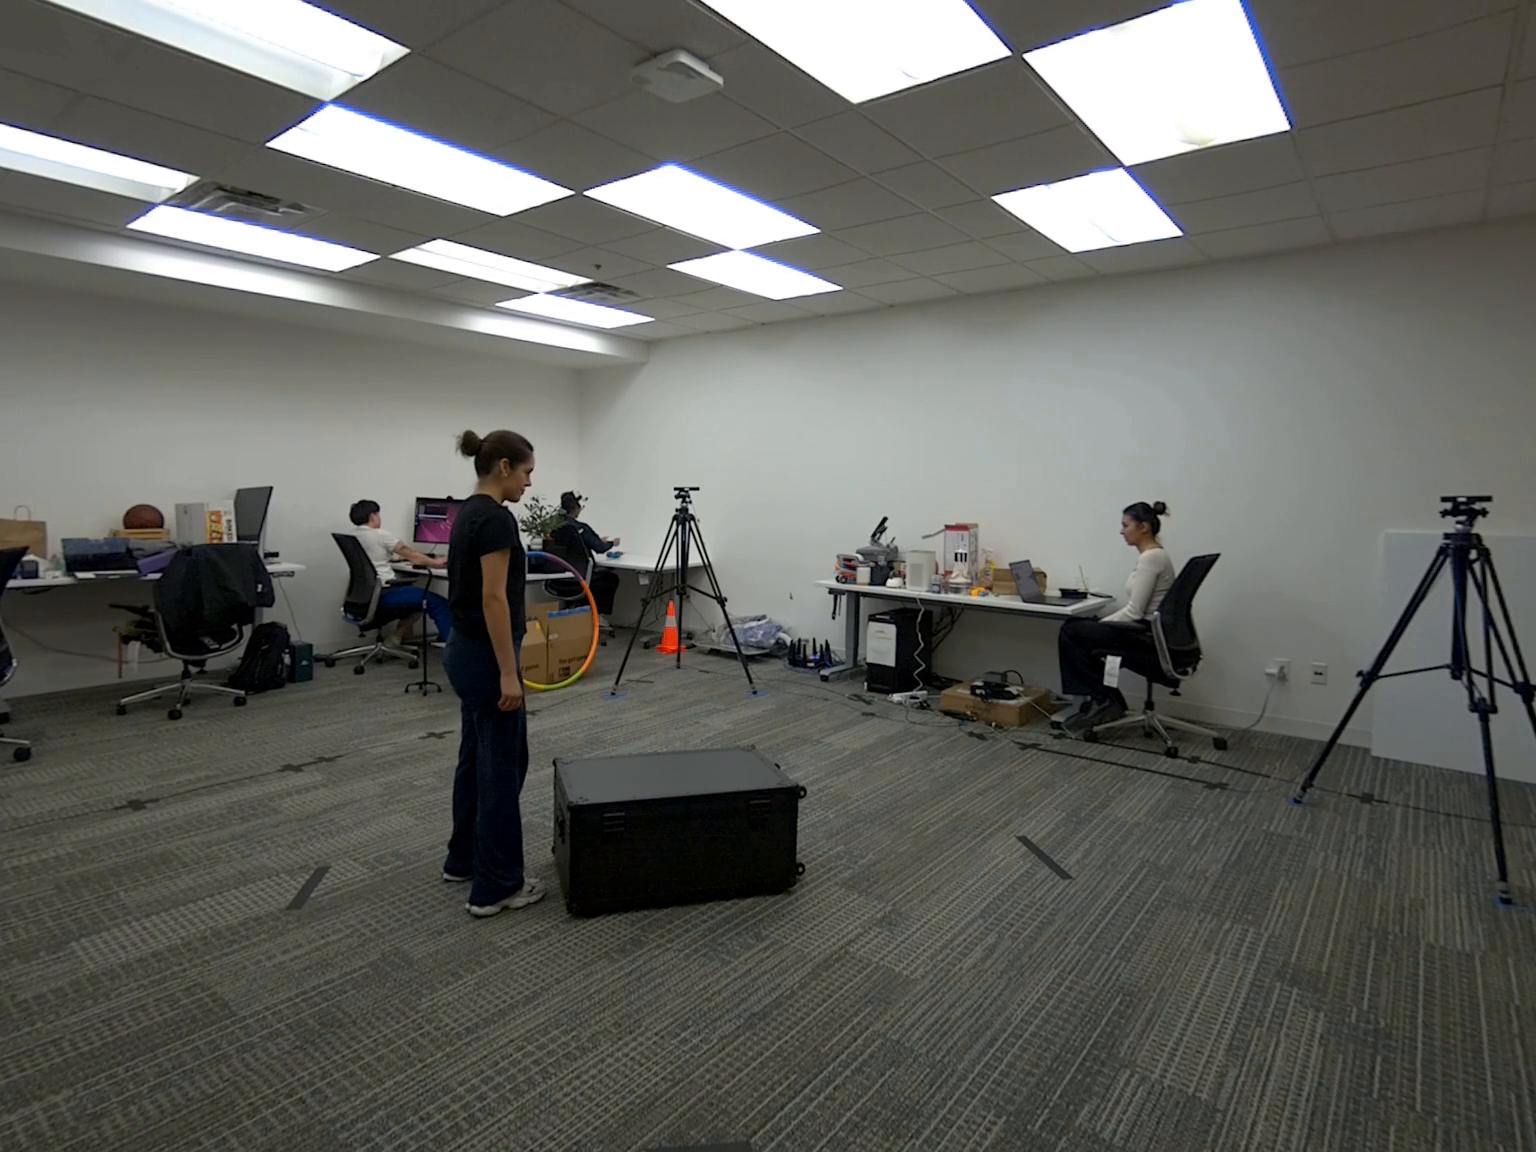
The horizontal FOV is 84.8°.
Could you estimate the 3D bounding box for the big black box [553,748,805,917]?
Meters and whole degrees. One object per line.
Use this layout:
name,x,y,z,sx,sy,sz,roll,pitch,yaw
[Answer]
big black box,-0.305,0.875,3.057,0.846,0.395,0.533,-1,5,-18
